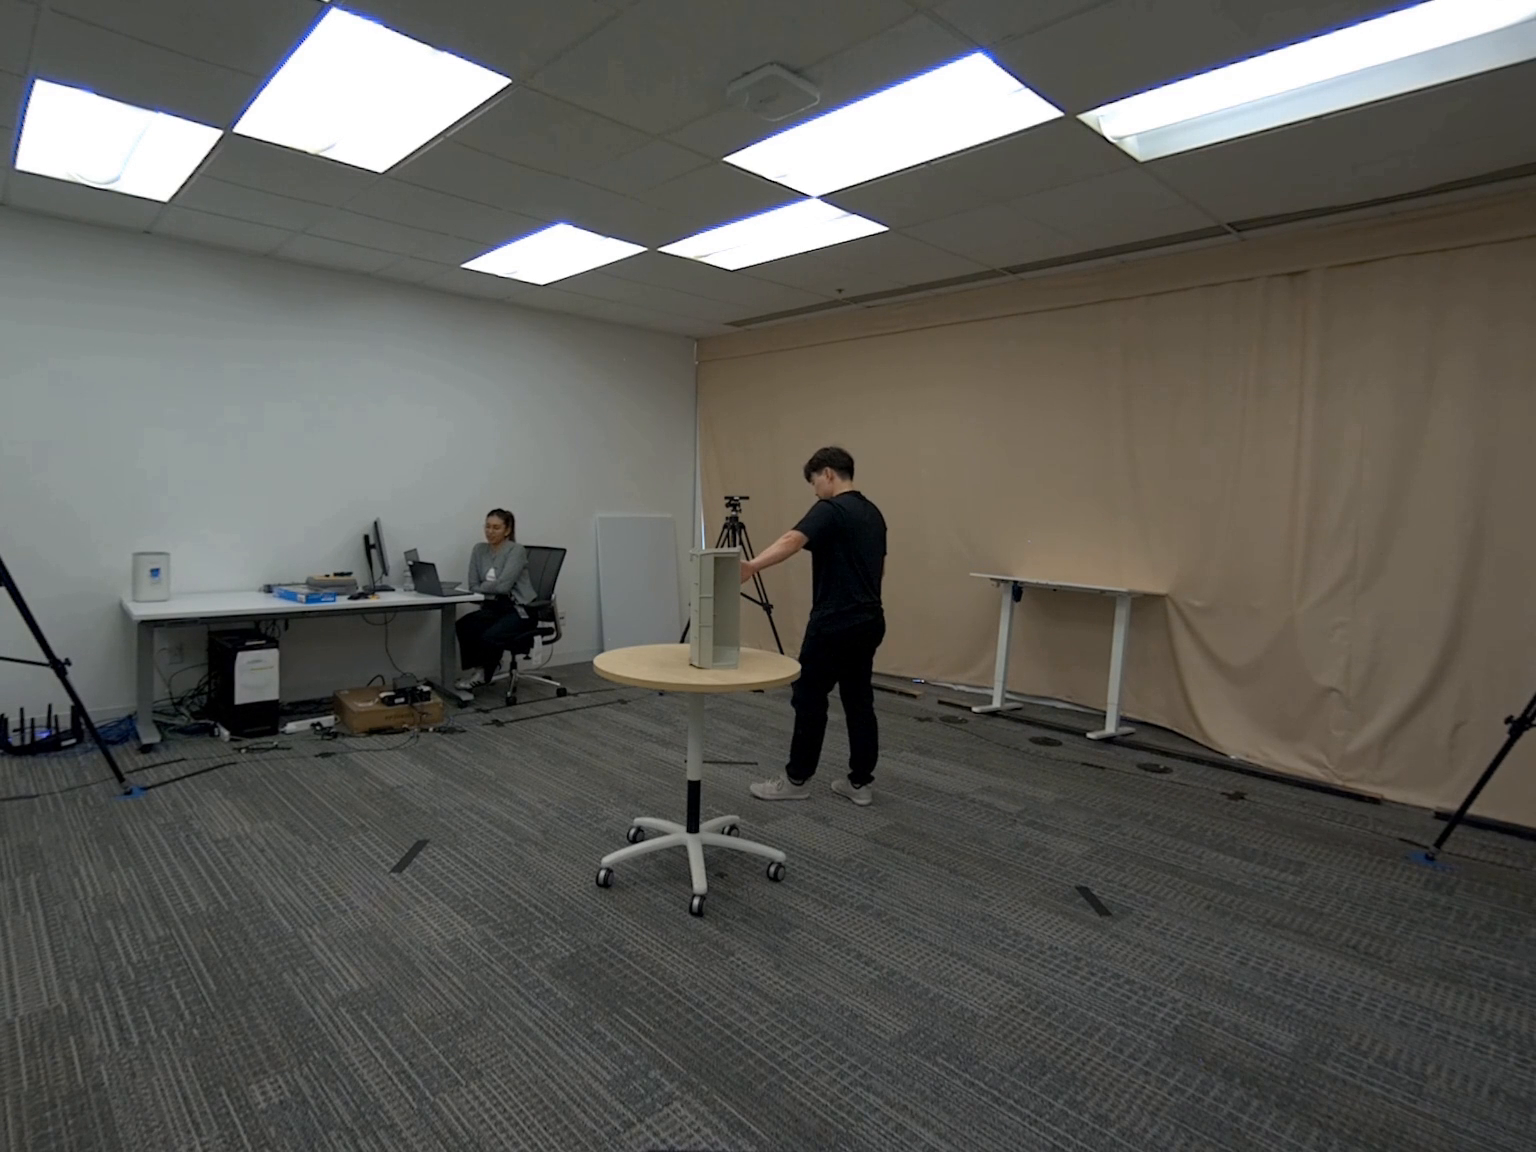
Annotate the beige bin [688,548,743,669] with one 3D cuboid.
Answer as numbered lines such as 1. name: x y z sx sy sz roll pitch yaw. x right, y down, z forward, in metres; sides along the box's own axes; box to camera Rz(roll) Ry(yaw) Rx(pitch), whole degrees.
1. beige bin: -0.191 0.106 3.155 0.189 0.421 0.378 1 4 1
